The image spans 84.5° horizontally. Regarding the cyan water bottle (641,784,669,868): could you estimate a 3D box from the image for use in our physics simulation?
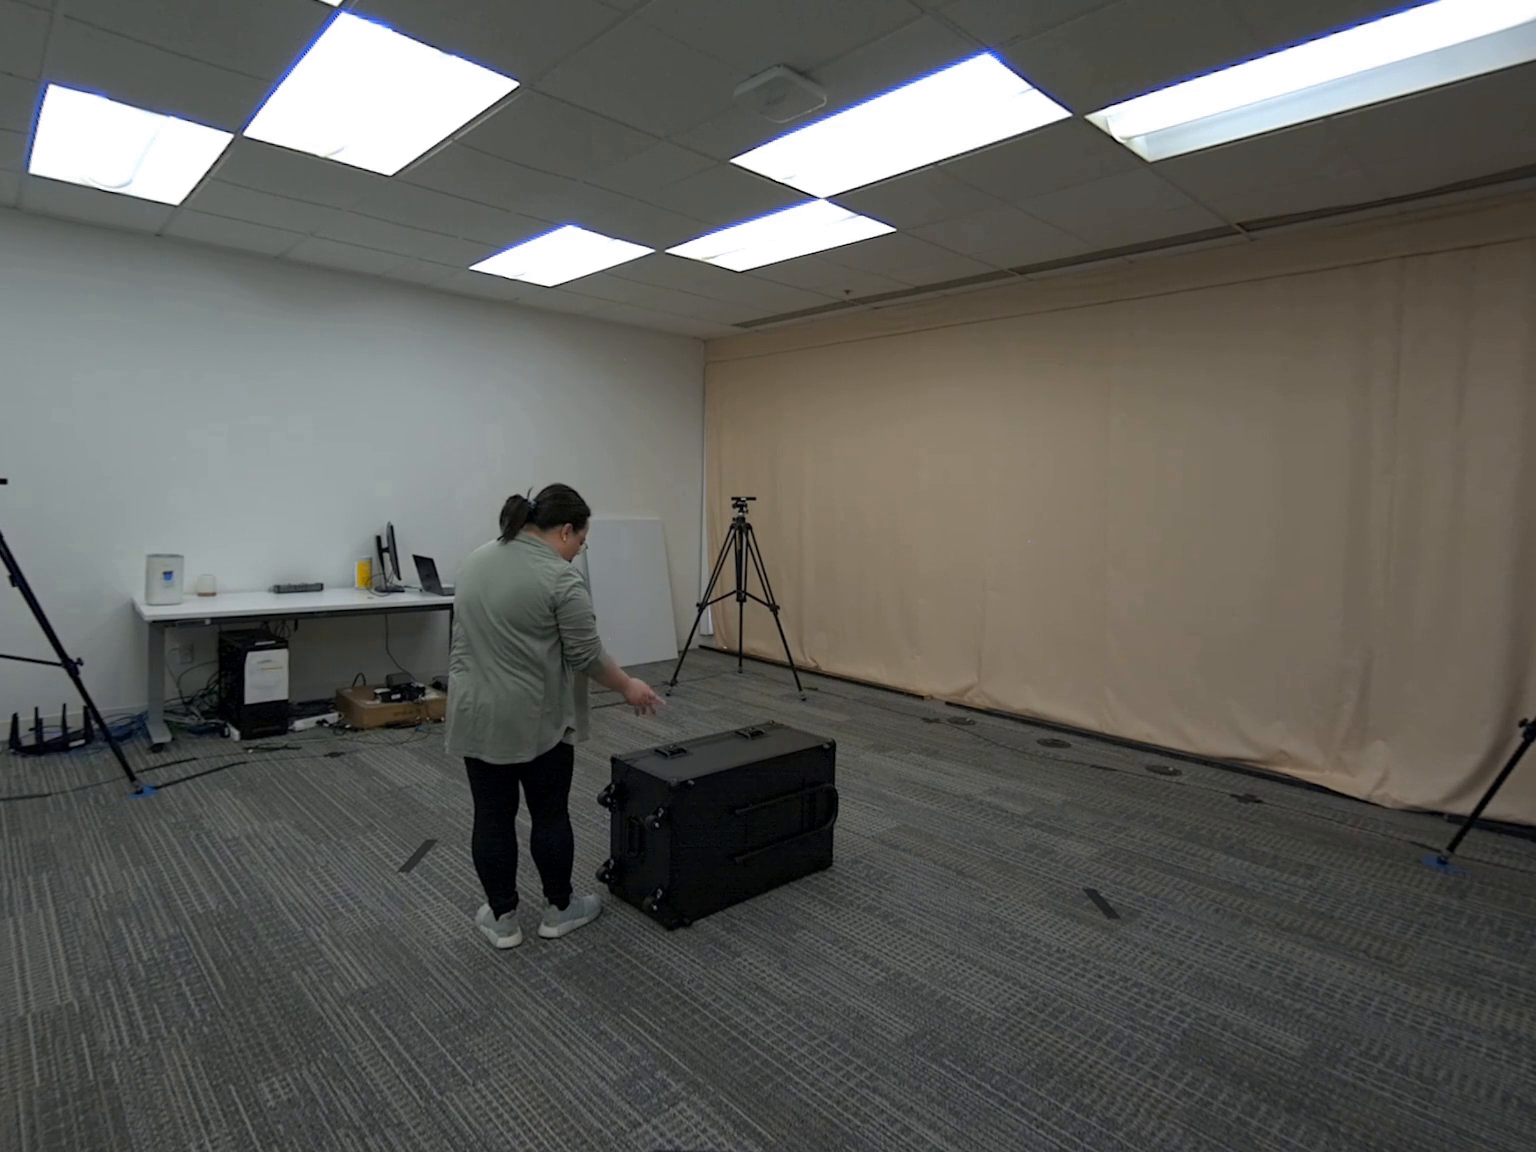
[{"bbox_3d":[-0.430,0.948,3.216,0.092,0.283,0.092,0,3,-1],"label":"cyan water bottle"}]
